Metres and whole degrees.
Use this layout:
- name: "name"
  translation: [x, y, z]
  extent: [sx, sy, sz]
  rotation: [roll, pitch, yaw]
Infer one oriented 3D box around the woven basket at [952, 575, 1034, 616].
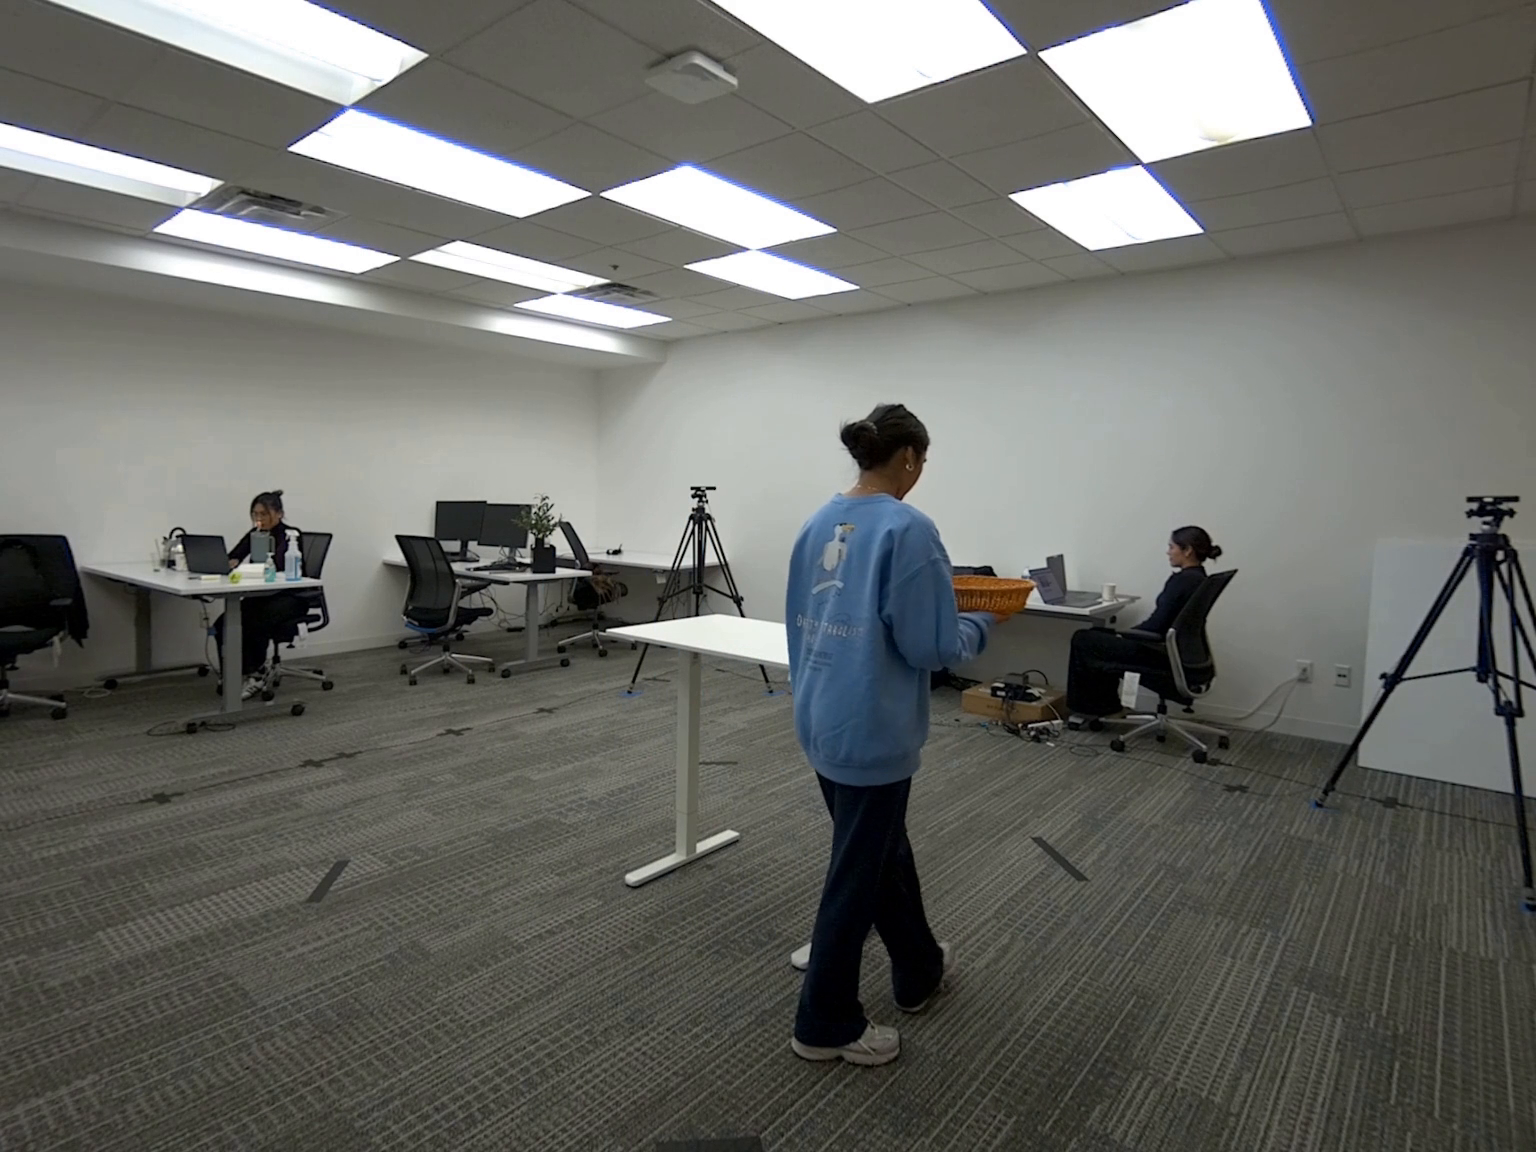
- name: "woven basket"
  translation: [0.525, 0.059, 2.236]
  extent: [0.361, 0.073, 0.245]
  rotation: [2, 6, 36]
